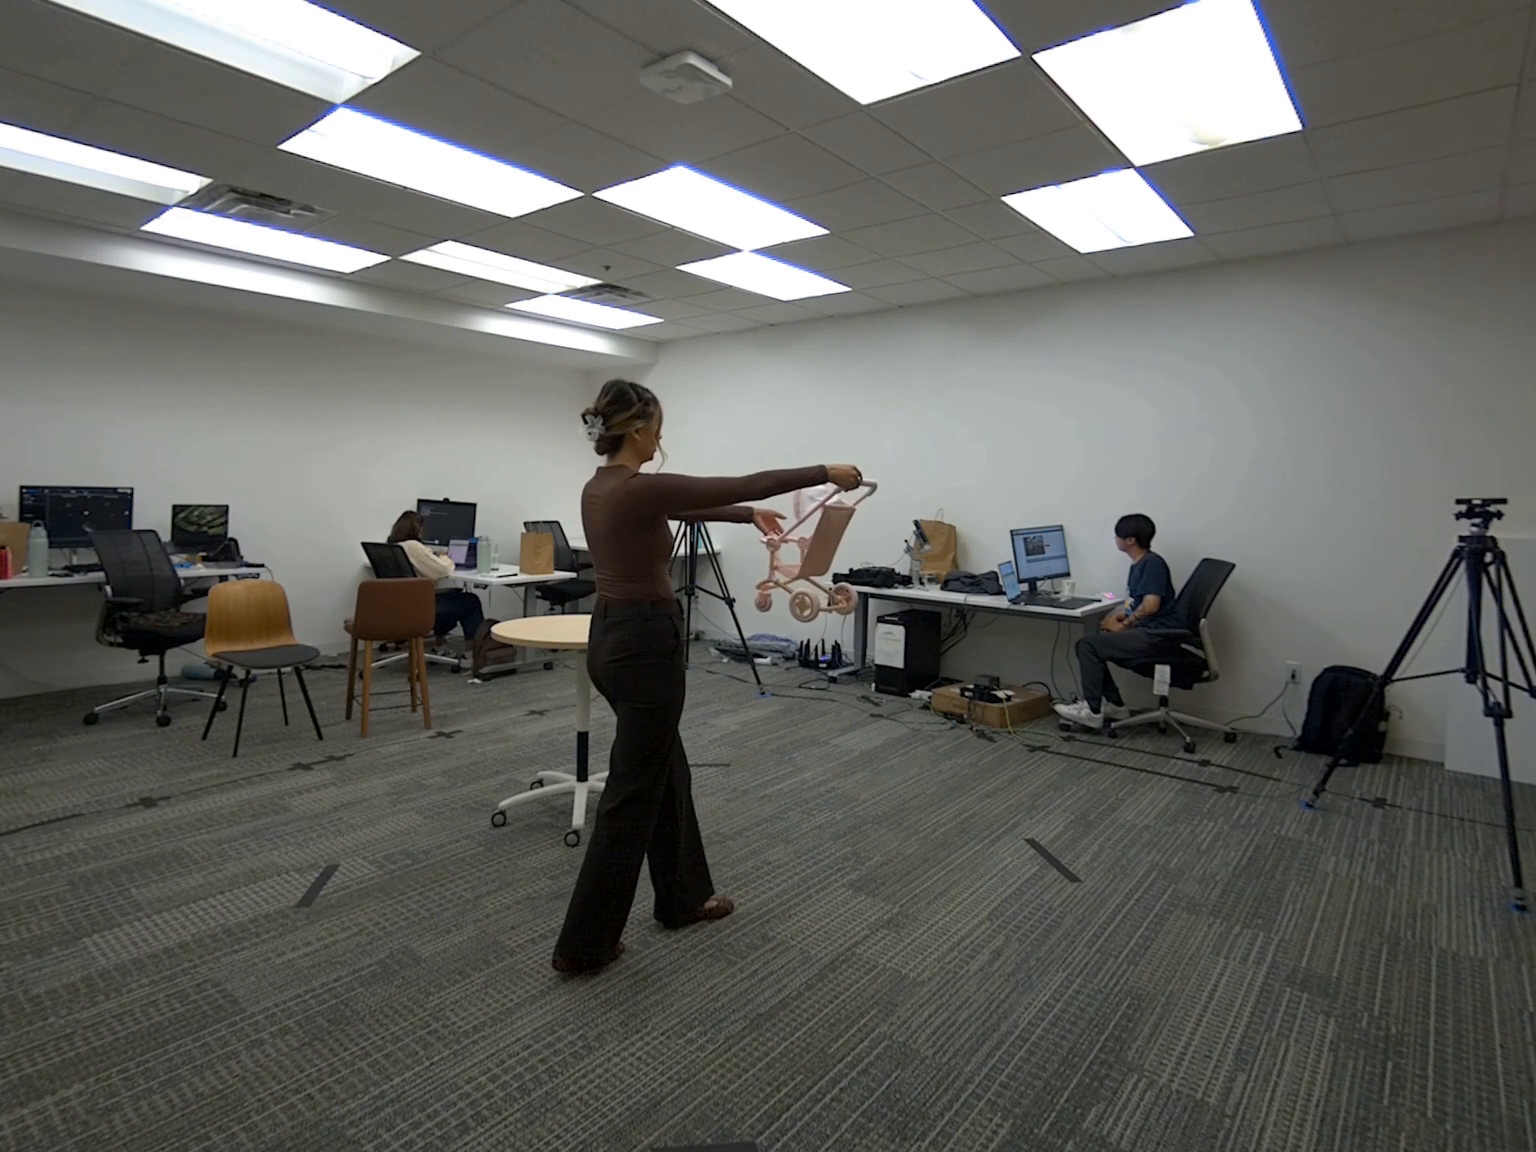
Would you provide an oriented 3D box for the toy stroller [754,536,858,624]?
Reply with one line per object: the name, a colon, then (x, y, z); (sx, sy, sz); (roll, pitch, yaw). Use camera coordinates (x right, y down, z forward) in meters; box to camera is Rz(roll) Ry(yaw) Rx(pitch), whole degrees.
toy stroller: (0.125, -0.101, 2.841); (0.355, 0.531, 0.272); (20, 13, 40)
